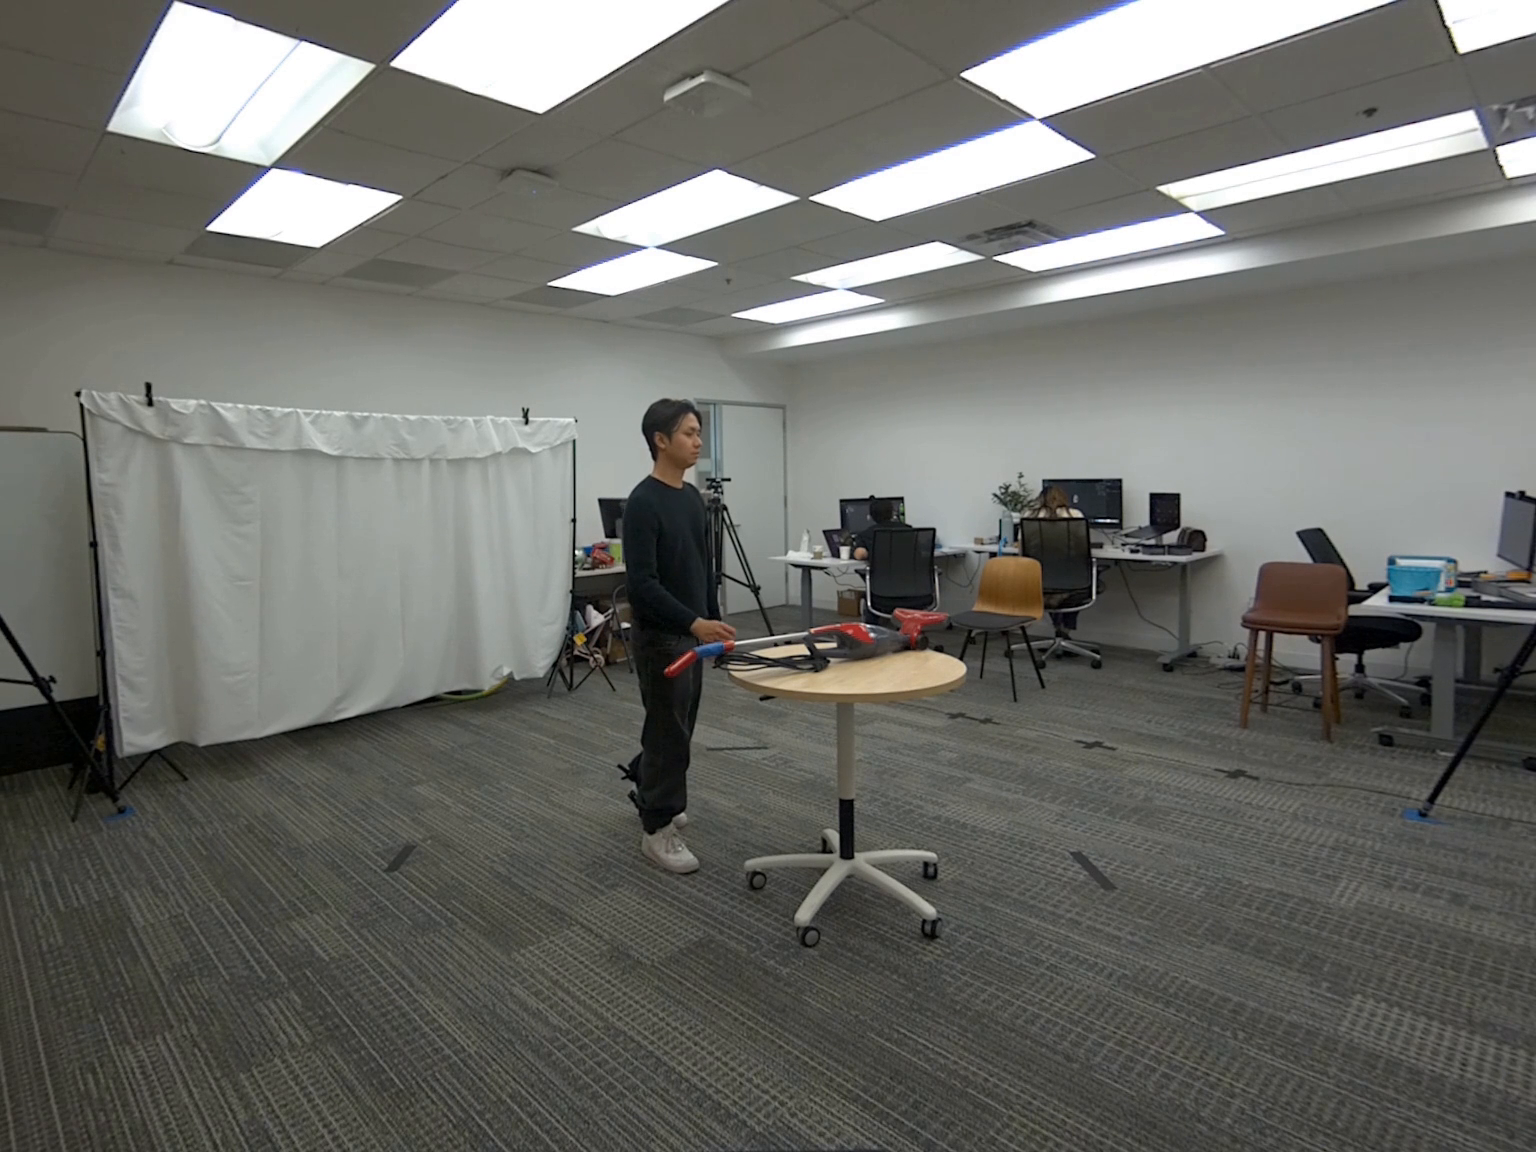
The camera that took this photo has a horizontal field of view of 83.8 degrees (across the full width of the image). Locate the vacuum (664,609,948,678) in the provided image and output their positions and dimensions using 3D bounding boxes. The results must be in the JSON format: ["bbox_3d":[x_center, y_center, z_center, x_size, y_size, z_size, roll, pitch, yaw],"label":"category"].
[{"bbox_3d":[0.119,0.242,2.745,1.023,0.143,0.260,-5,9,-34],"label":"vacuum"}]
